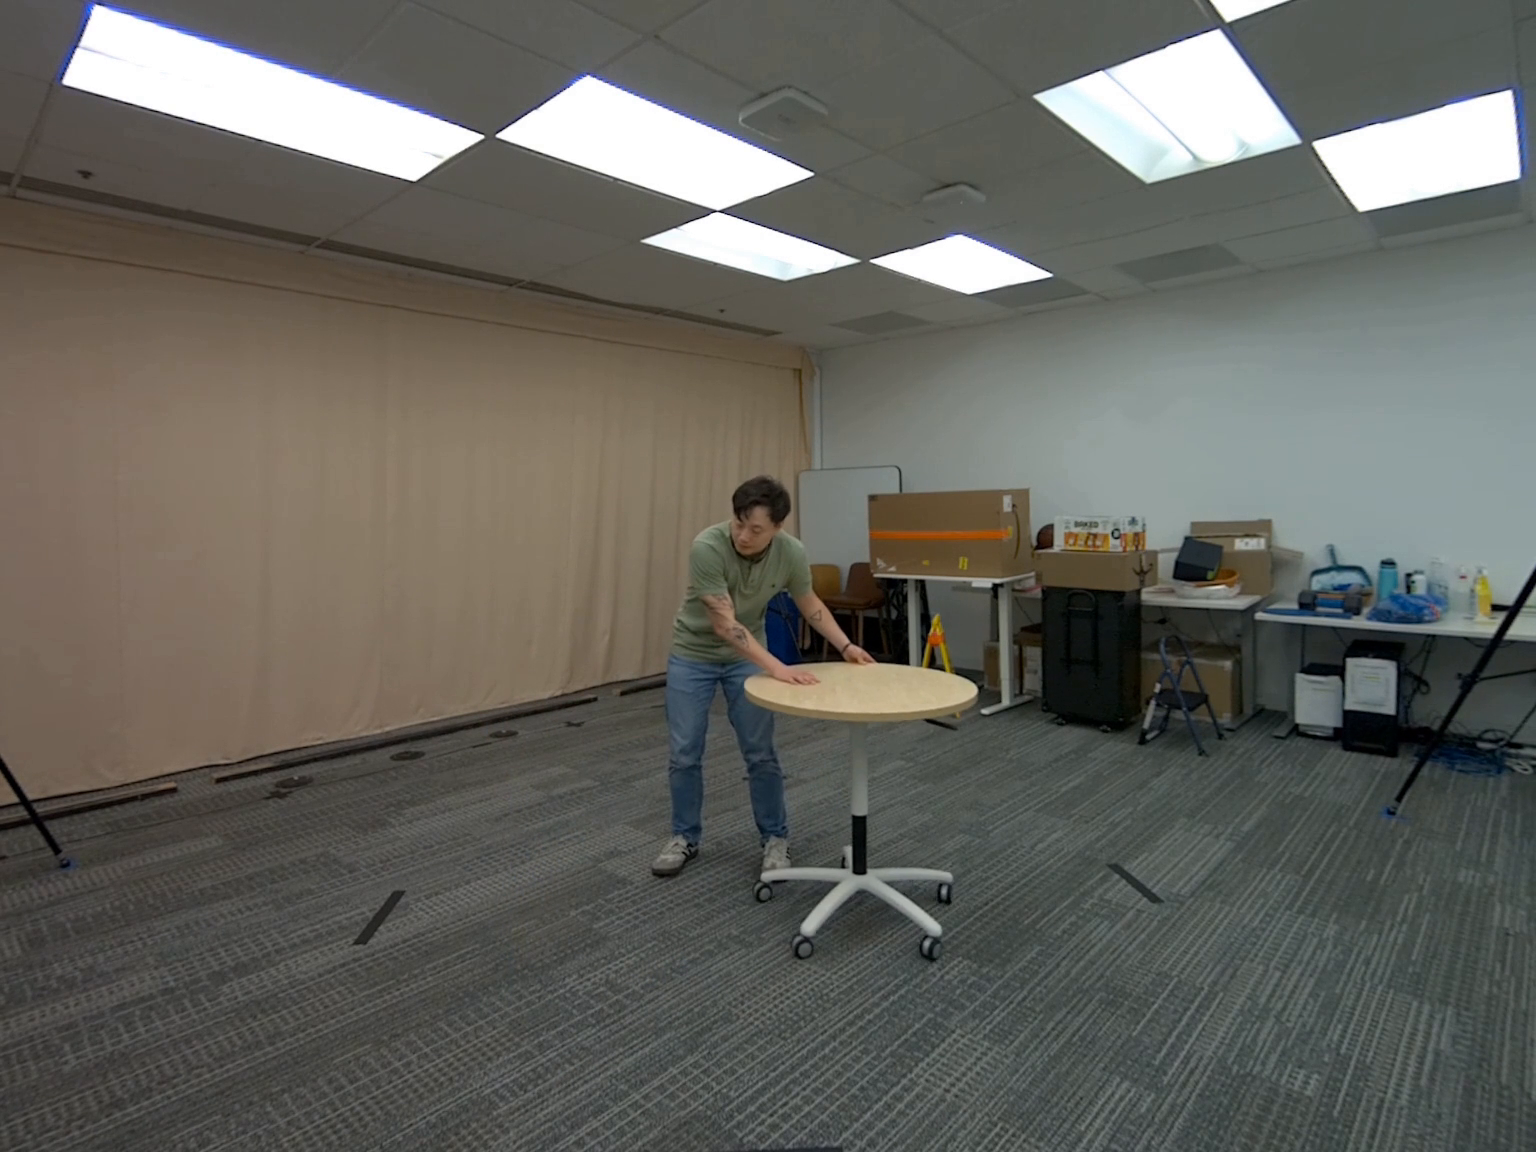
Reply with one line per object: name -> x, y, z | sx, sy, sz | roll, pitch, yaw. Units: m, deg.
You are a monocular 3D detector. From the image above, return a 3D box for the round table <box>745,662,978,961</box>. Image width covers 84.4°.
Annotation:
round table -> 0.312, 0.756, 2.841 | 0.763, 0.792, 0.767 | -1, 4, -2
